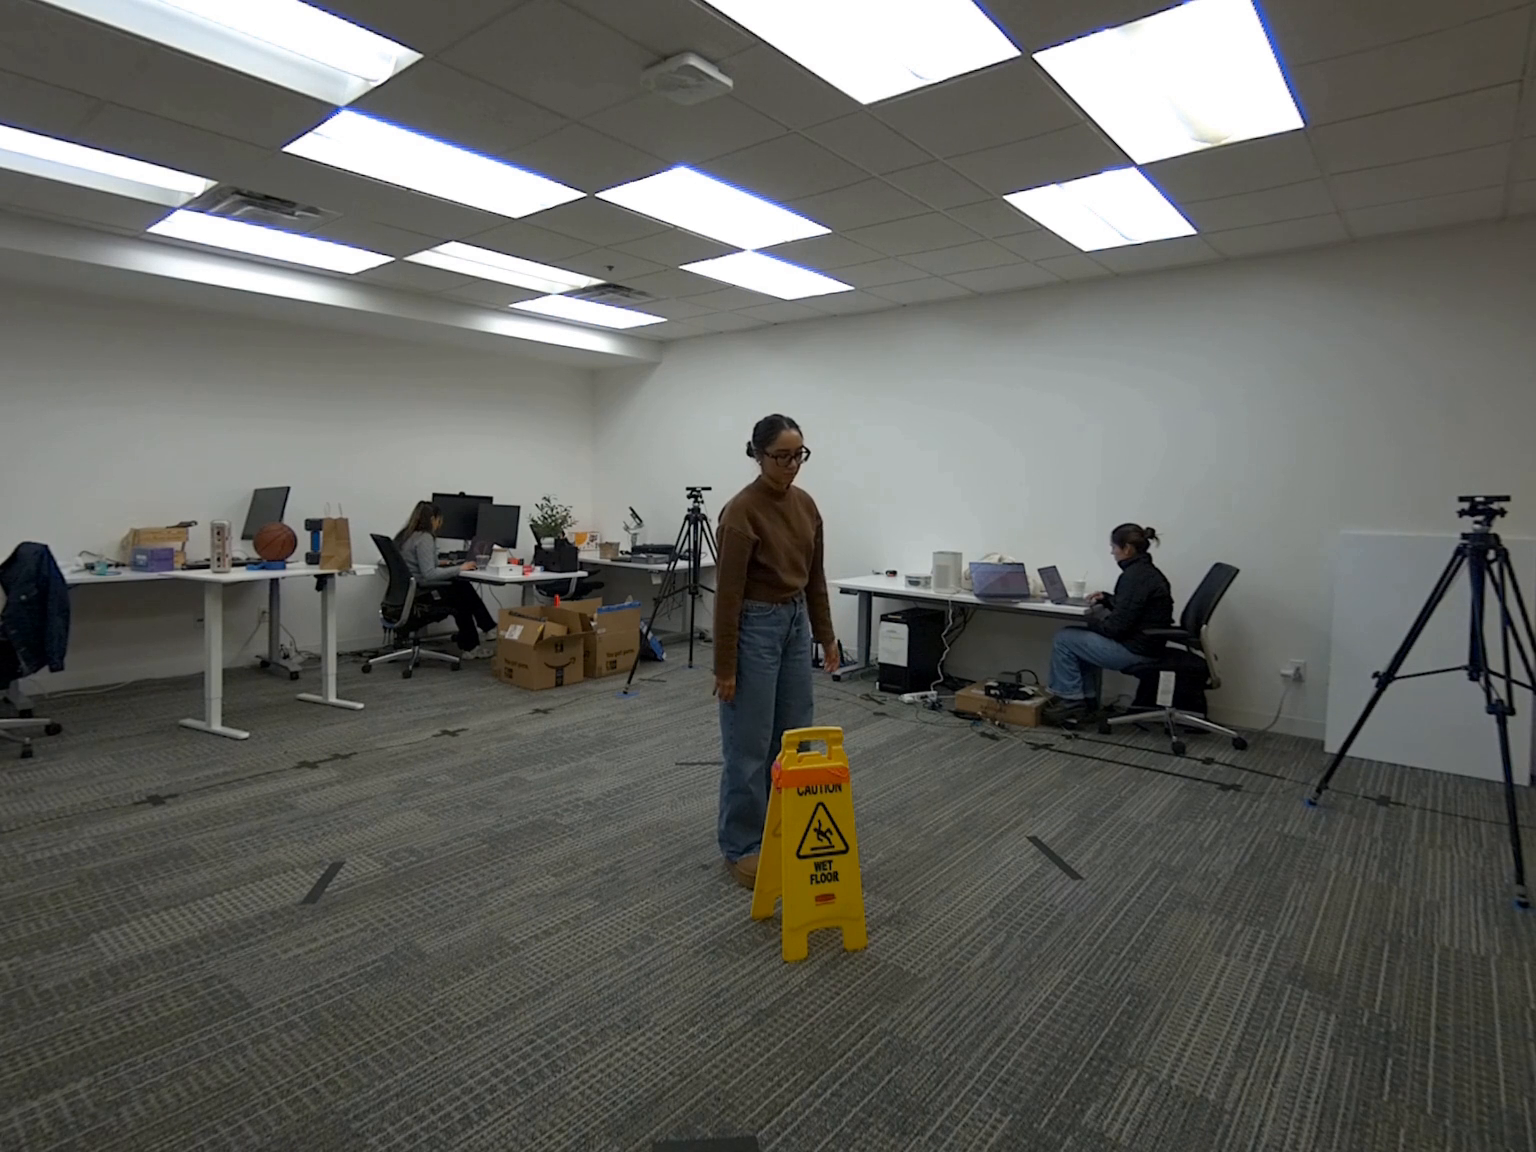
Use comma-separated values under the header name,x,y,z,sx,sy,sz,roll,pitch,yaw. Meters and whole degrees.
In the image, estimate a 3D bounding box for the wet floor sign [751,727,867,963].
name,x,y,z,sx,sy,sz,roll,pitch,yaw
wet floor sign,0.125,0.791,2.654,0.276,0.644,0.297,-1,4,-21
